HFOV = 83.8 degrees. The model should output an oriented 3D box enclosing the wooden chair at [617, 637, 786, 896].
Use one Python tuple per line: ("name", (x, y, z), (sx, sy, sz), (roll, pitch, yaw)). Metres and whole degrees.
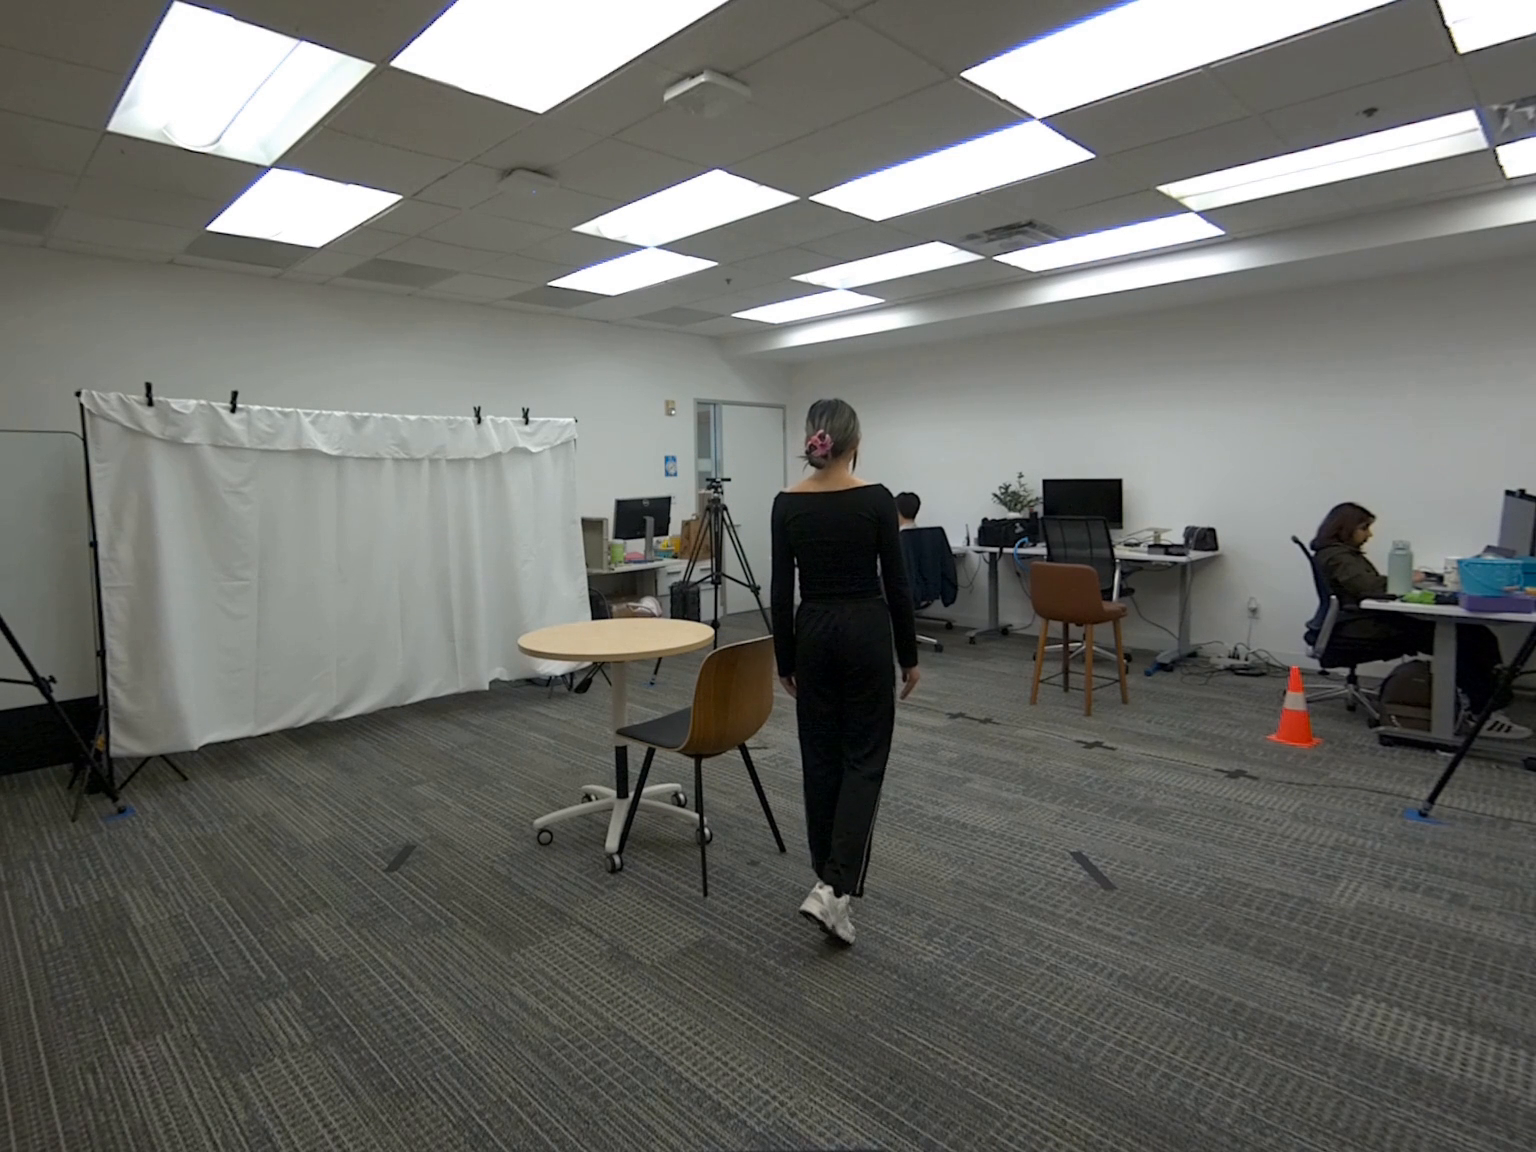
("wooden chair", (-0.260, 0.613, 3.146), (0.540, 0.872, 0.466), (9, 10, 40))
